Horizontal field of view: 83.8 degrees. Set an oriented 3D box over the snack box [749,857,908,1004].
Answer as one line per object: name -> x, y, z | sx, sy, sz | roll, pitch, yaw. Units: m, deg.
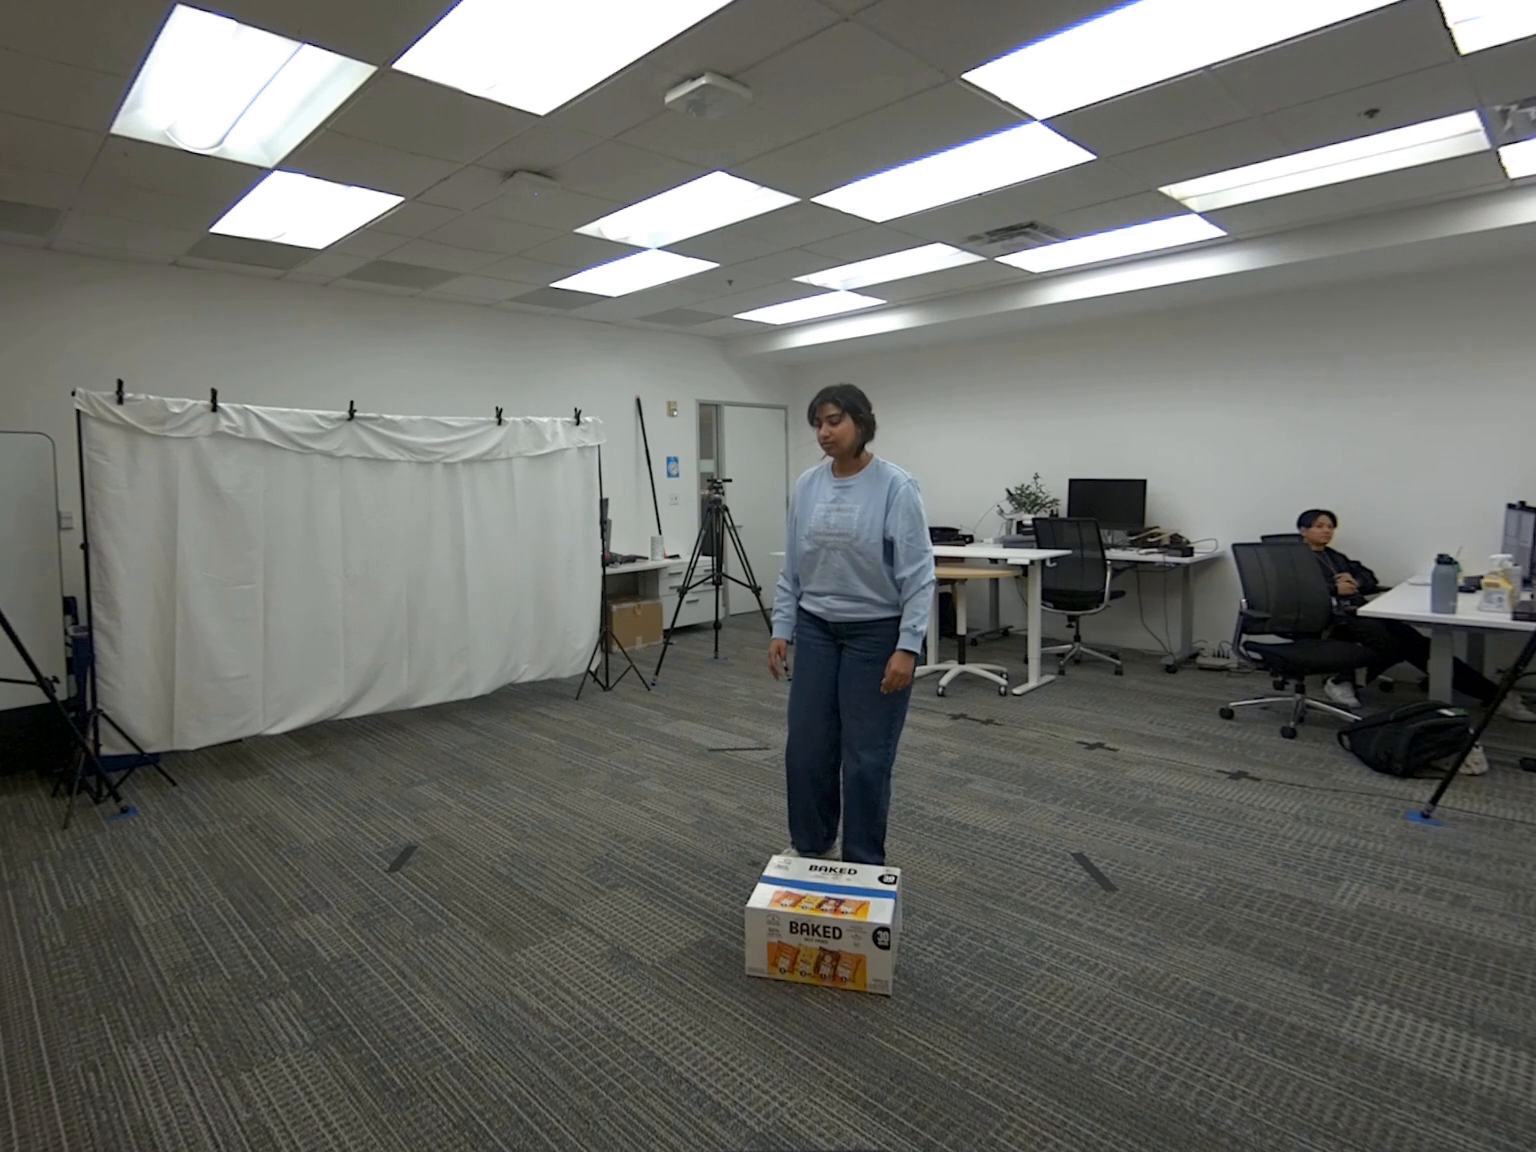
snack box -> 0.185, 1.015, 2.500 | 0.411, 0.205, 0.337 | 0, 6, 15
